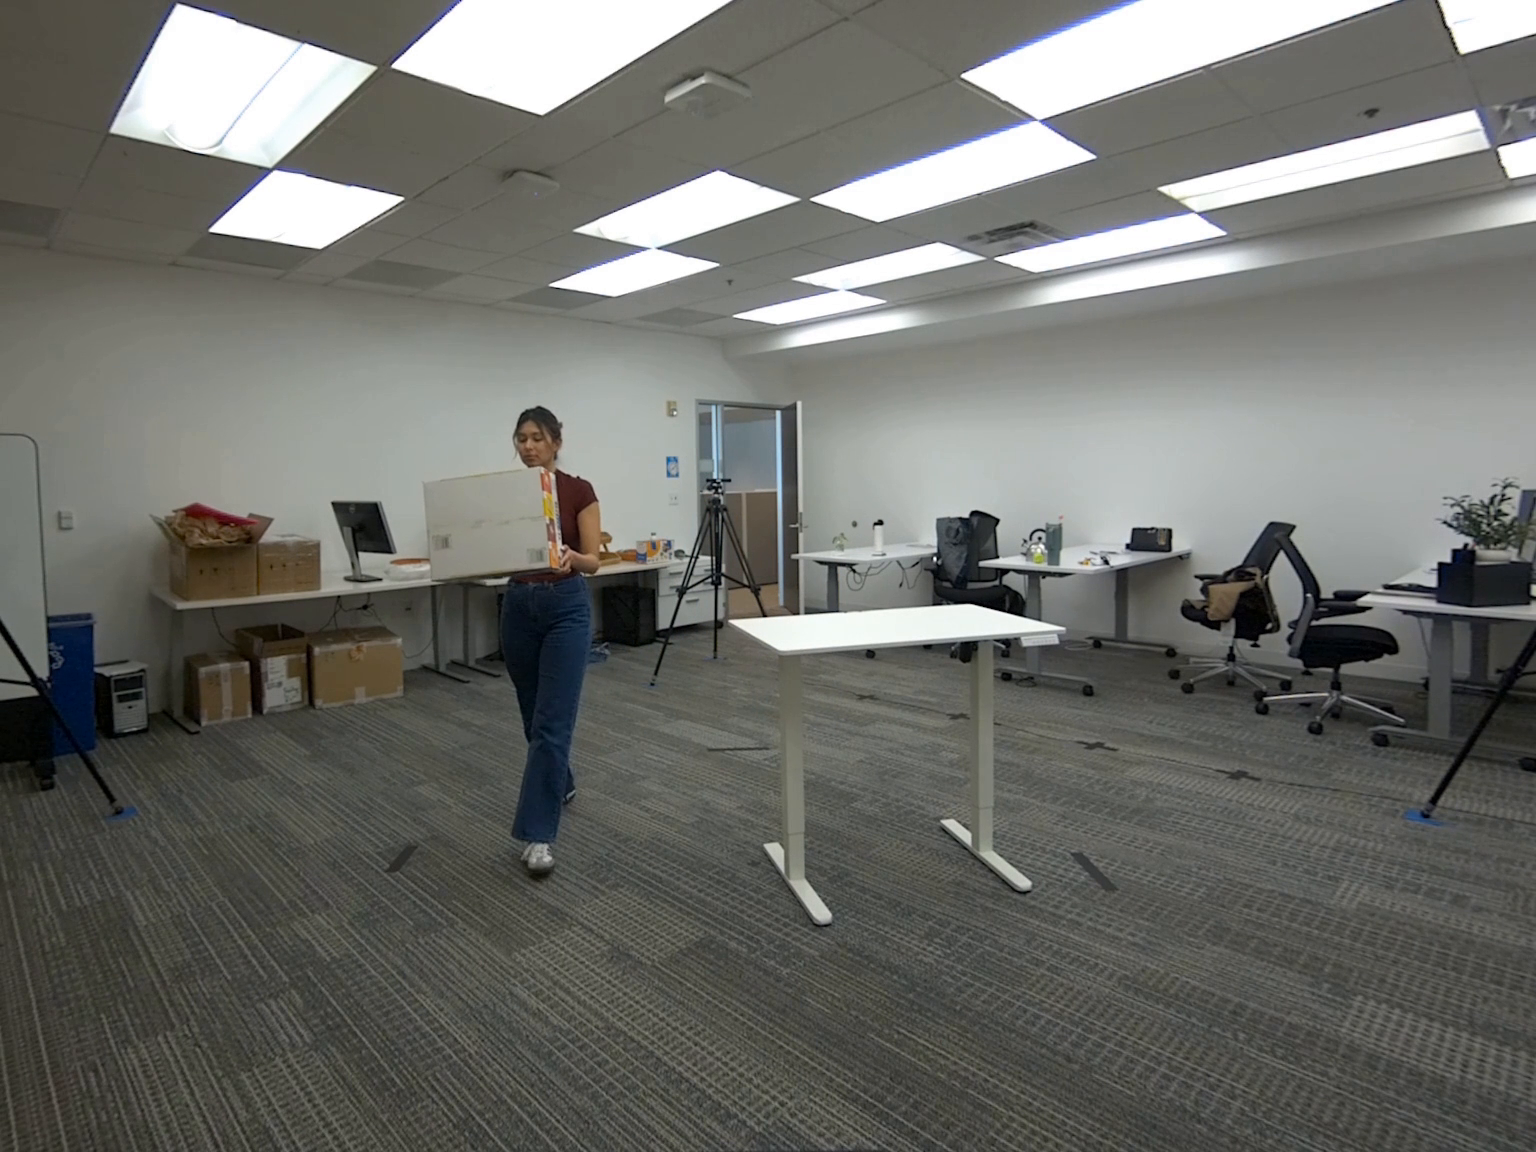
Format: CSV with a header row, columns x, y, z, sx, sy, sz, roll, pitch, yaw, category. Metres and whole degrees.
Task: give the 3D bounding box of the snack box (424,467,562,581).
x,y,z,sx,sy,sz,roll,pitch,yaw,category
-0.933,-0.173,2.901,0.405,0.342,0.204,-7,-4,1,snack box
